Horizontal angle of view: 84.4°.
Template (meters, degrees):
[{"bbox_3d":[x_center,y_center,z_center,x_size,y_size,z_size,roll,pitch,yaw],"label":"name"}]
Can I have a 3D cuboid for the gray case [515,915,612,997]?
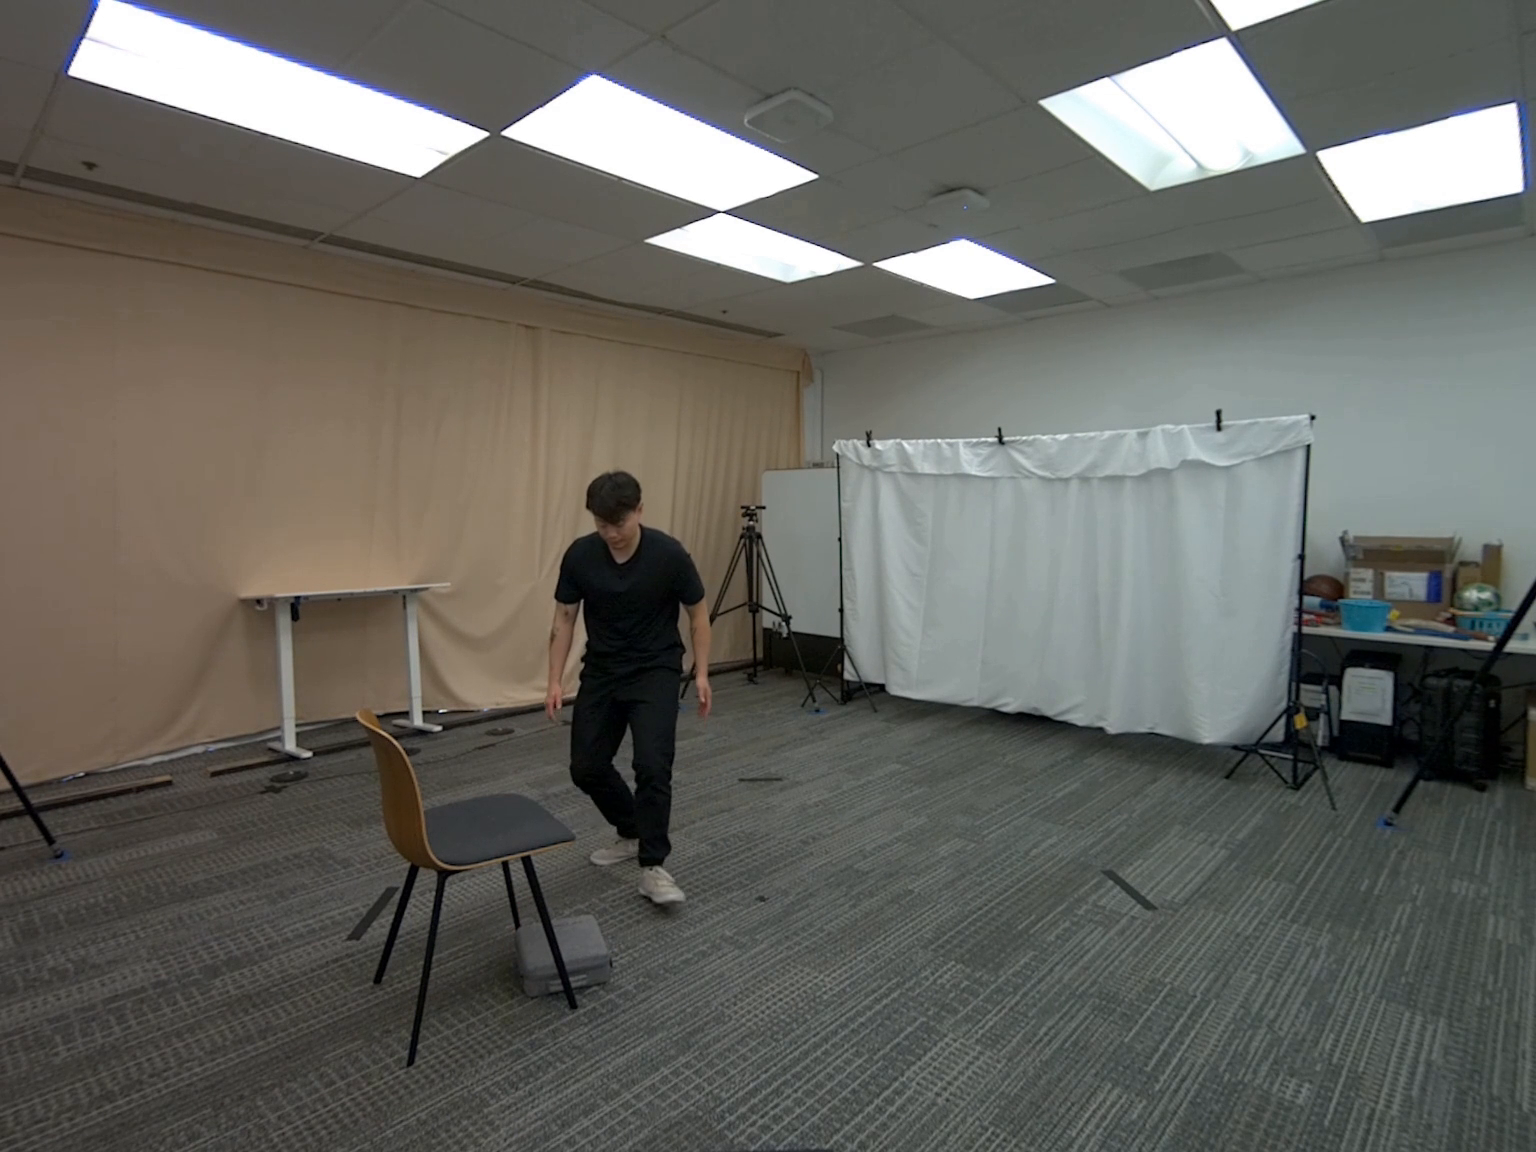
[{"bbox_3d":[-0.613,1.132,2.518,0.252,0.104,0.267,-1,6,-20],"label":"gray case"}]
